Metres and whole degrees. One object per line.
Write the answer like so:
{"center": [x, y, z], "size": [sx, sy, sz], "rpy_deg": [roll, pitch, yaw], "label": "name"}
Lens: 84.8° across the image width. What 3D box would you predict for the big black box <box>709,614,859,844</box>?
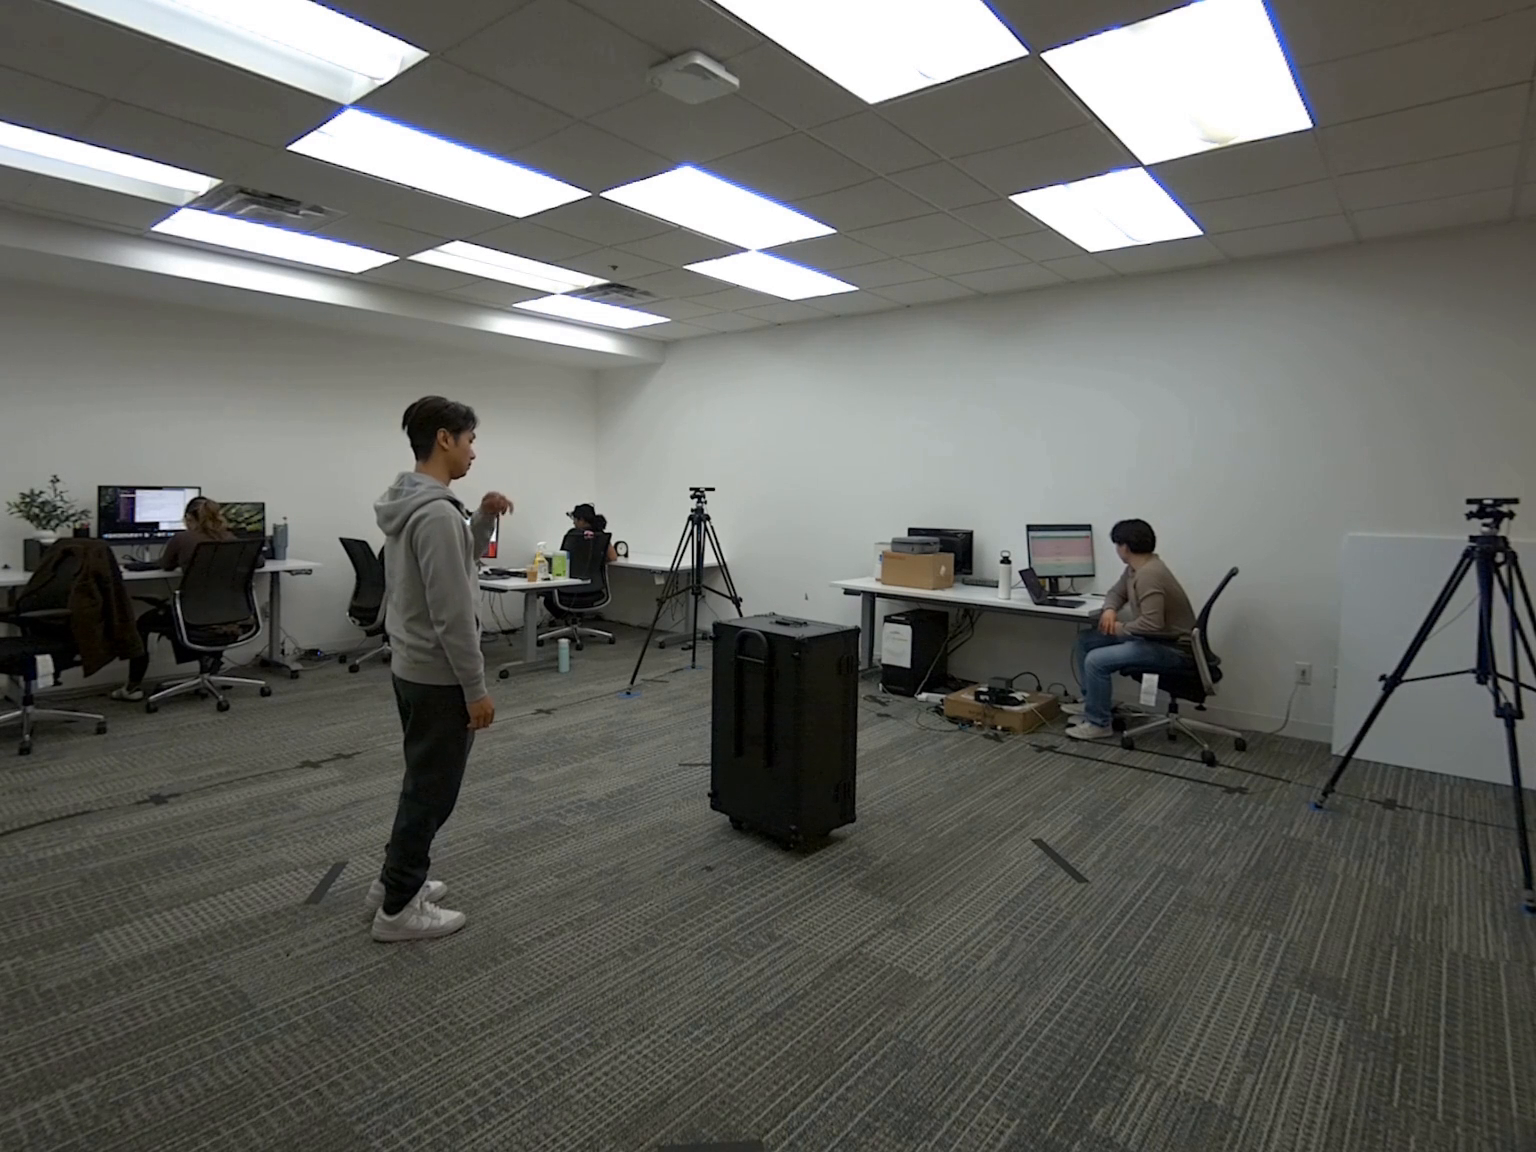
{"center": [0.050, 0.616, 3.424], "size": [0.539, 0.858, 0.384], "rpy_deg": [5, 6, 45], "label": "big black box"}
